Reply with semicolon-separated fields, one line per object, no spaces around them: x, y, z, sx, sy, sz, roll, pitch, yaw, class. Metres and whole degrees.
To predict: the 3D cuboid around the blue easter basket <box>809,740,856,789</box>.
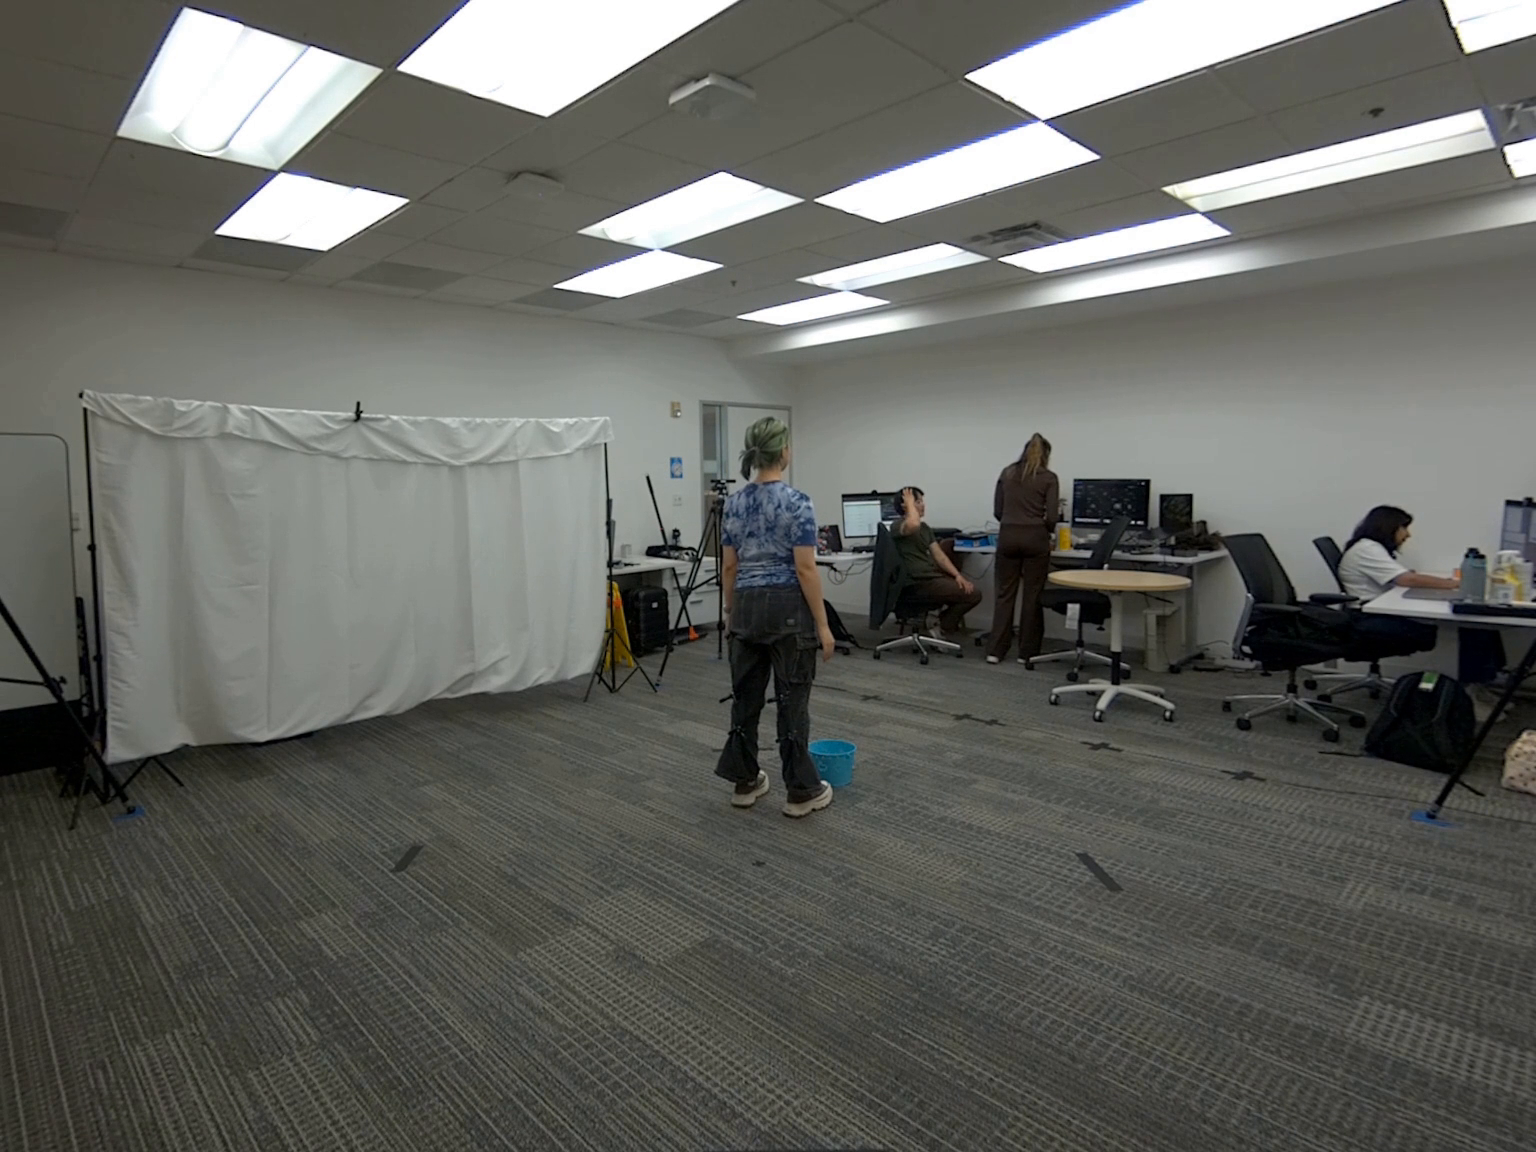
0.300;0.867;3.970;0.243;0.155;0.245;-1;6;-2;blue easter basket
